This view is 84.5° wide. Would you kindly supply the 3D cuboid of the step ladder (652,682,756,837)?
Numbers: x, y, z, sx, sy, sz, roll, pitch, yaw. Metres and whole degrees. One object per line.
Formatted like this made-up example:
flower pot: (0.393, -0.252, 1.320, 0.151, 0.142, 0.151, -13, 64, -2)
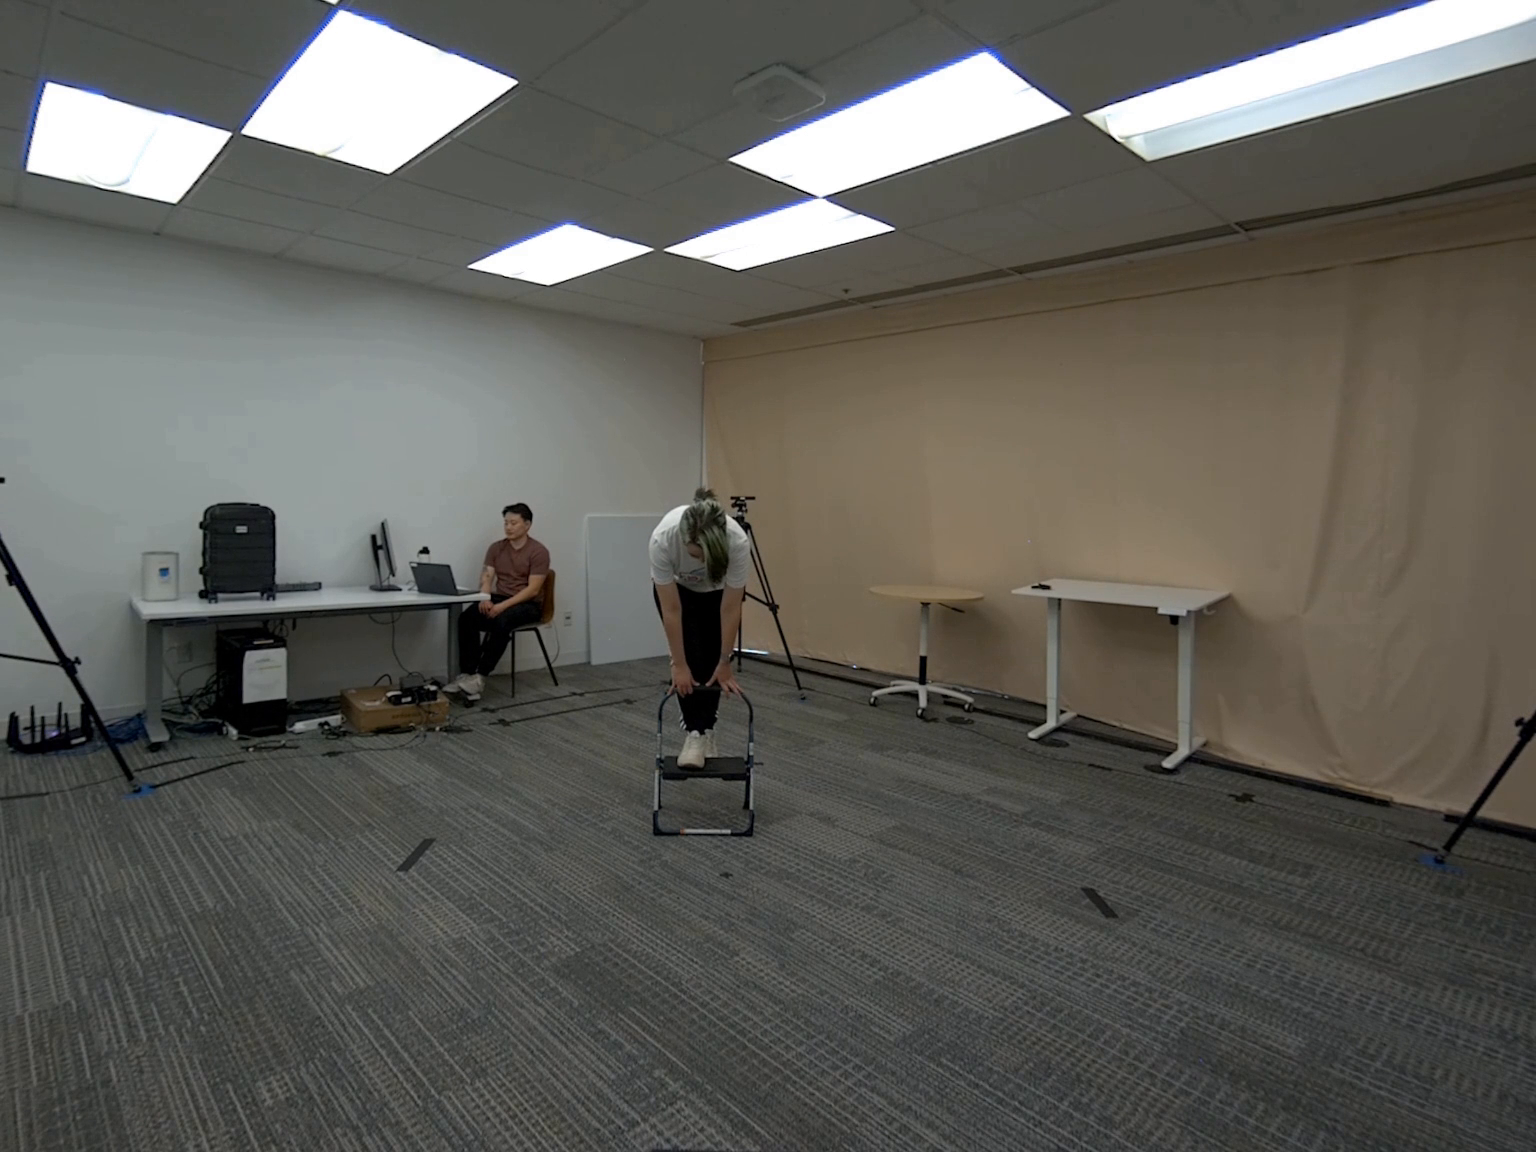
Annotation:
step ladder: (-0.281, 0.760, 3.616, 0.429, 0.604, 0.351, 2, 3, -4)
